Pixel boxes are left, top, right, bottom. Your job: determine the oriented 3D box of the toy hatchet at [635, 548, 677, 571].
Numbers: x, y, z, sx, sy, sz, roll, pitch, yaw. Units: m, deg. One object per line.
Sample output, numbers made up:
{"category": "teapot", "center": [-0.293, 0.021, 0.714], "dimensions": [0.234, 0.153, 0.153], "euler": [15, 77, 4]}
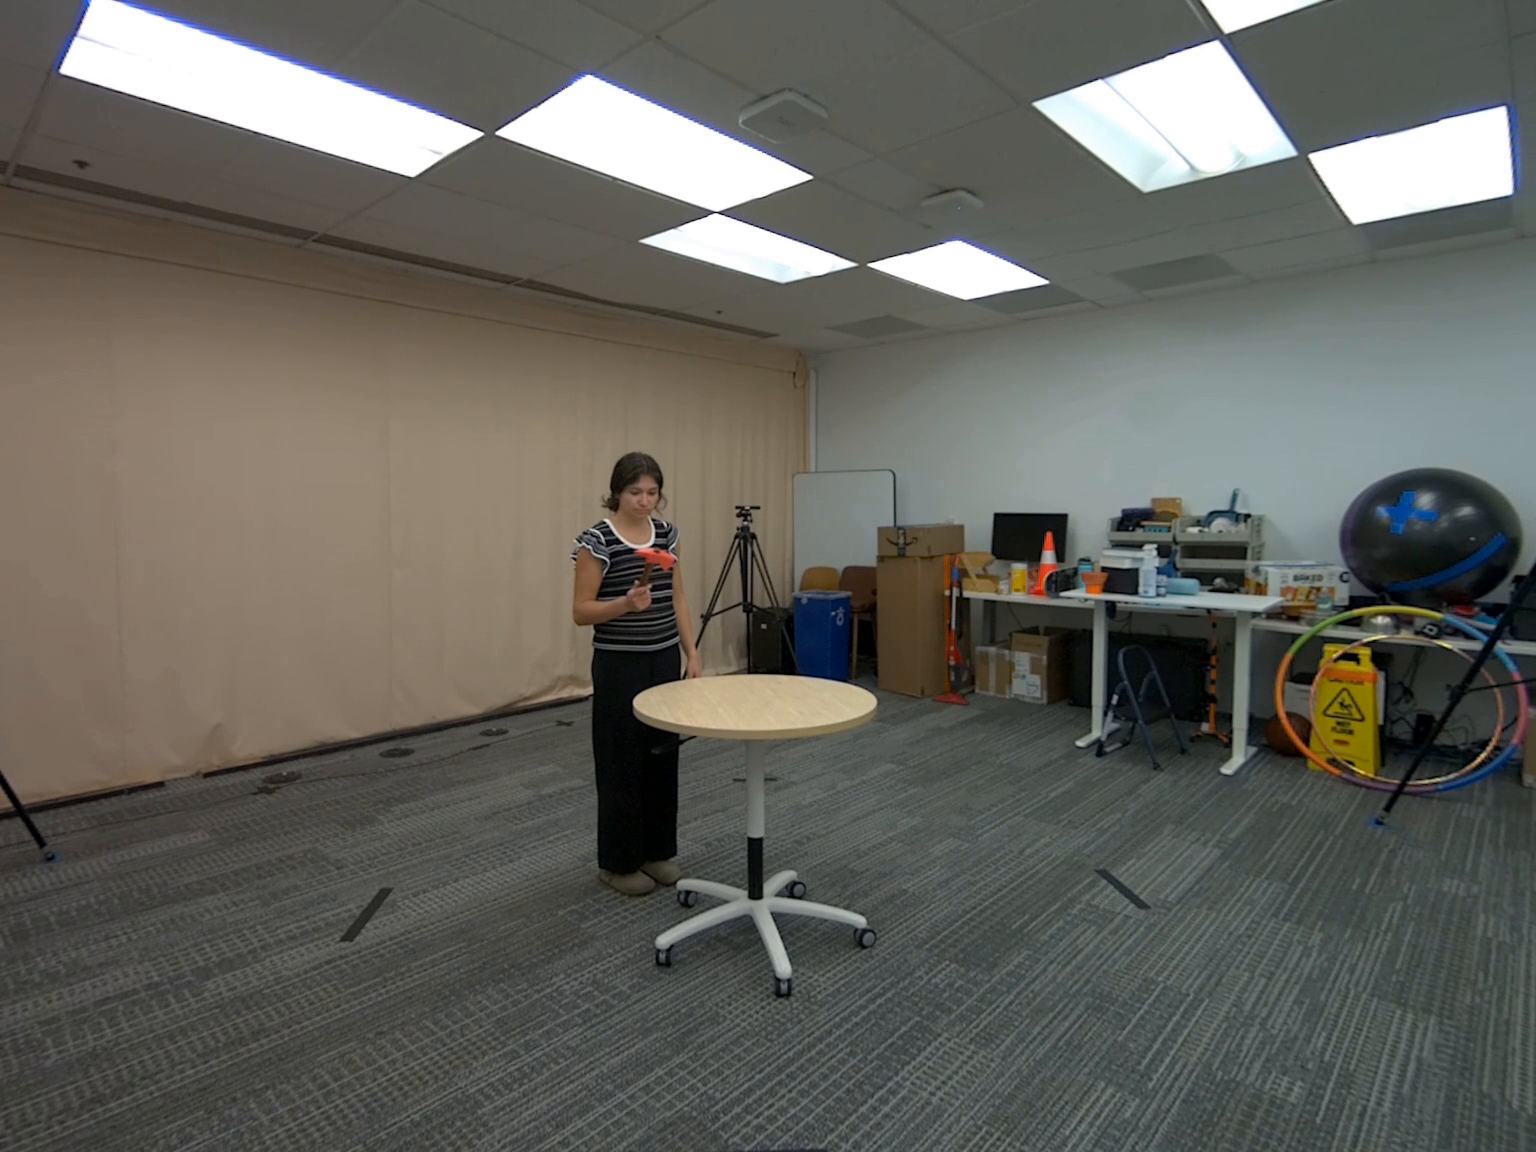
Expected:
{"category": "toy hatchet", "center": [-0.367, 0.008, 2.792], "dimensions": [0.130, 0.265, 0.030], "euler": [-4, 42, -5]}
